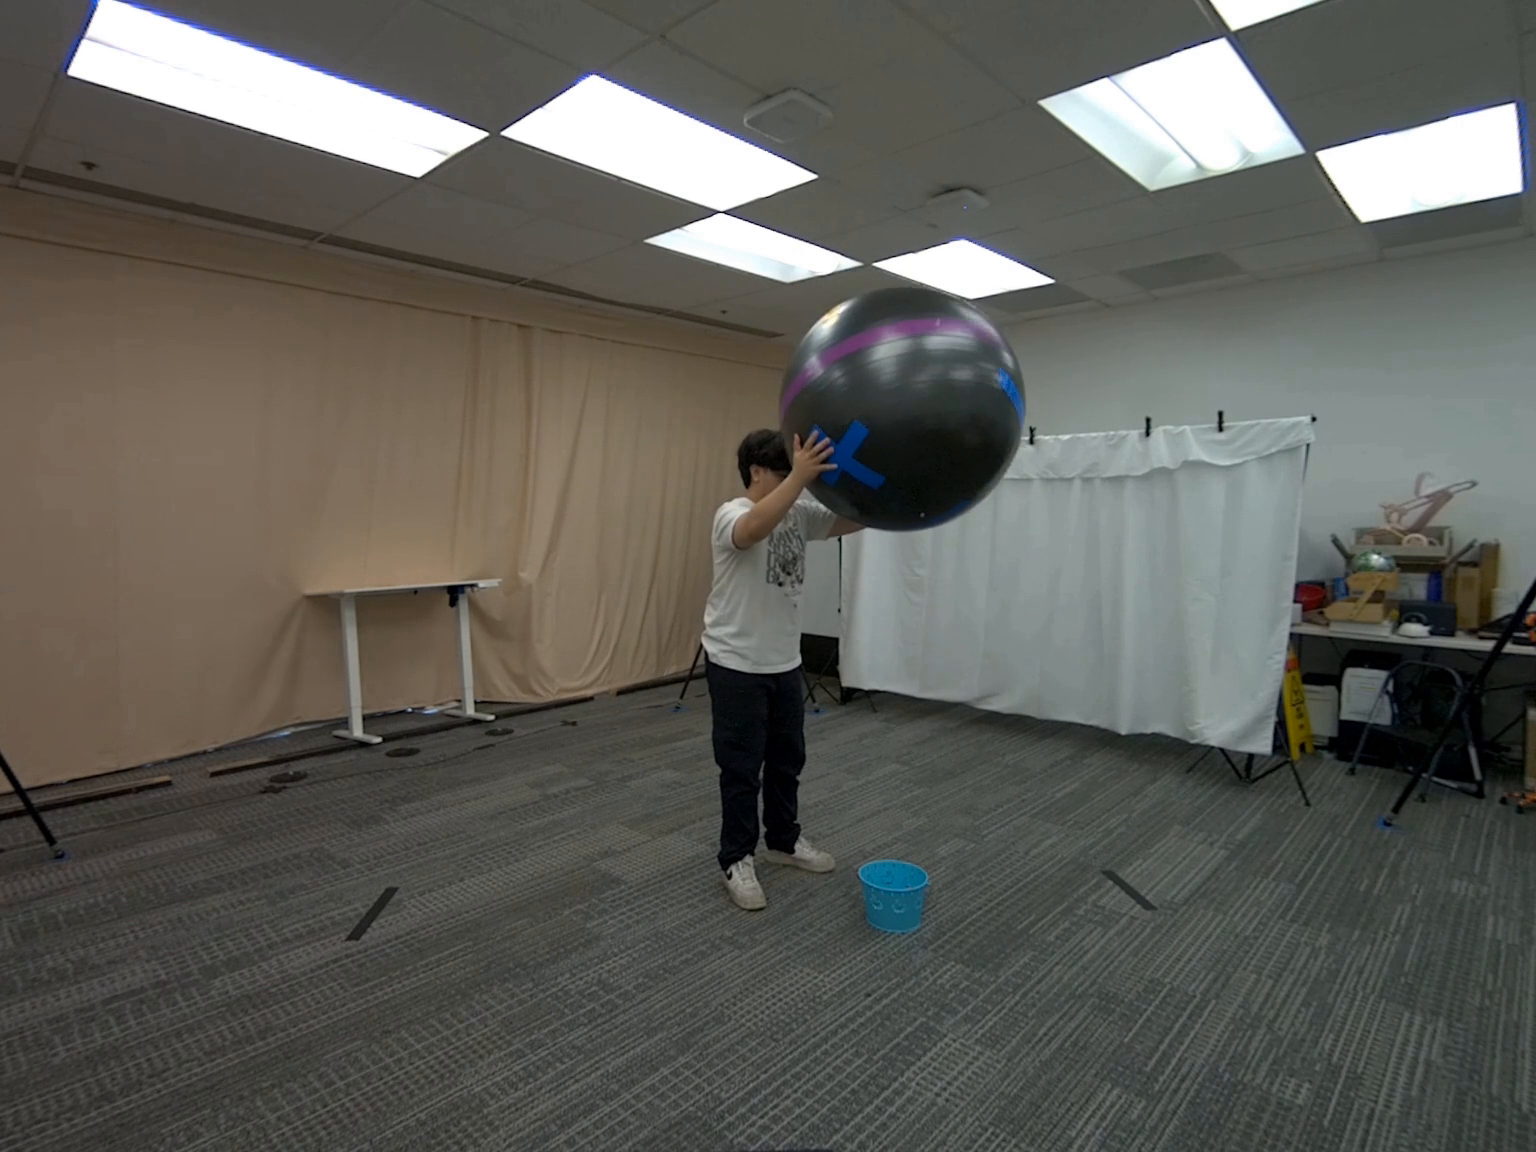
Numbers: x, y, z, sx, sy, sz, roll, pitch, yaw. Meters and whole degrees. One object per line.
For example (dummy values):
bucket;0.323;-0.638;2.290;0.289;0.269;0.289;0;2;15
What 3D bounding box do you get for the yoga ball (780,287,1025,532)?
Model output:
yoga ball;0.419;-0.507;2.662;0.757;0.756;0.760;0;4;-2
